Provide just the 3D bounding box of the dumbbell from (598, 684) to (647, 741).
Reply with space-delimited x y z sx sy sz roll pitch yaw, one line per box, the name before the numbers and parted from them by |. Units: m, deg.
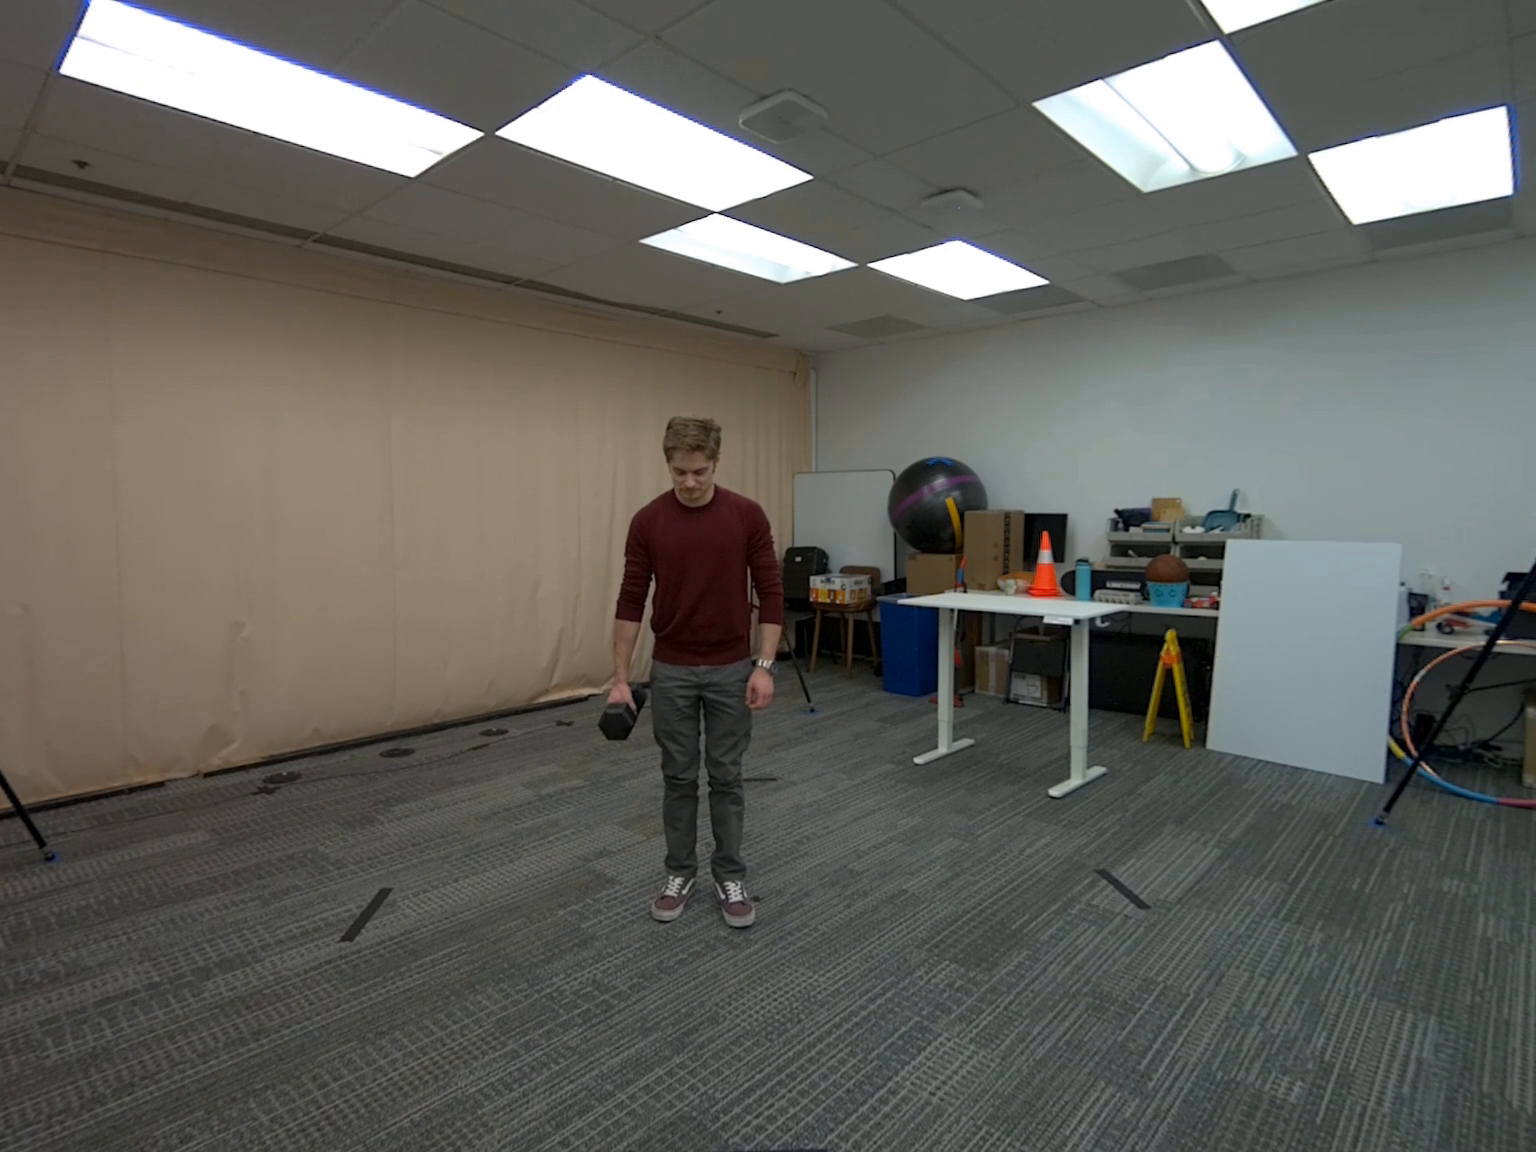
dumbbell | -0.485 0.457 2.841 0.108 0.123 0.294 28 9 -4
